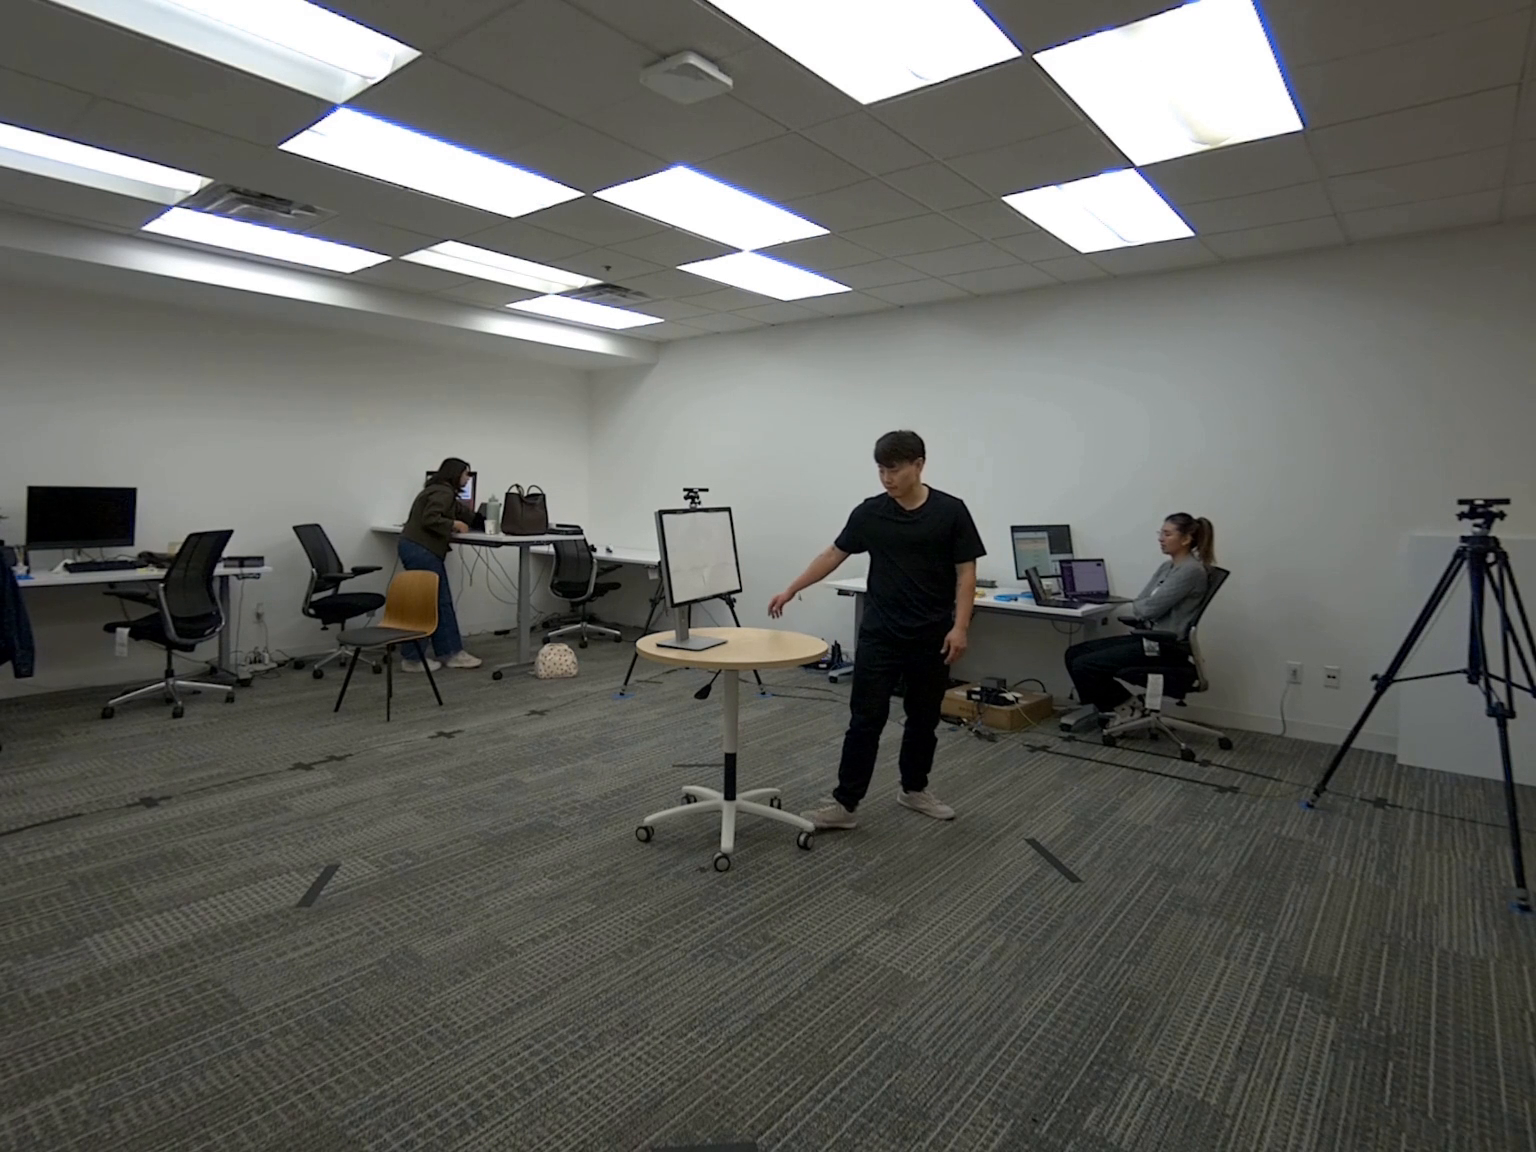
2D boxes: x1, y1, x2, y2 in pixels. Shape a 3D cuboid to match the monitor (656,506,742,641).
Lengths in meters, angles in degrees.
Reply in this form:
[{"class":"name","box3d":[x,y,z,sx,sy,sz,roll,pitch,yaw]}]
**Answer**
[{"class":"monitor","box3d":[-0.307,0.006,3.361,0.192,0.520,0.527,4,5,24]}]
